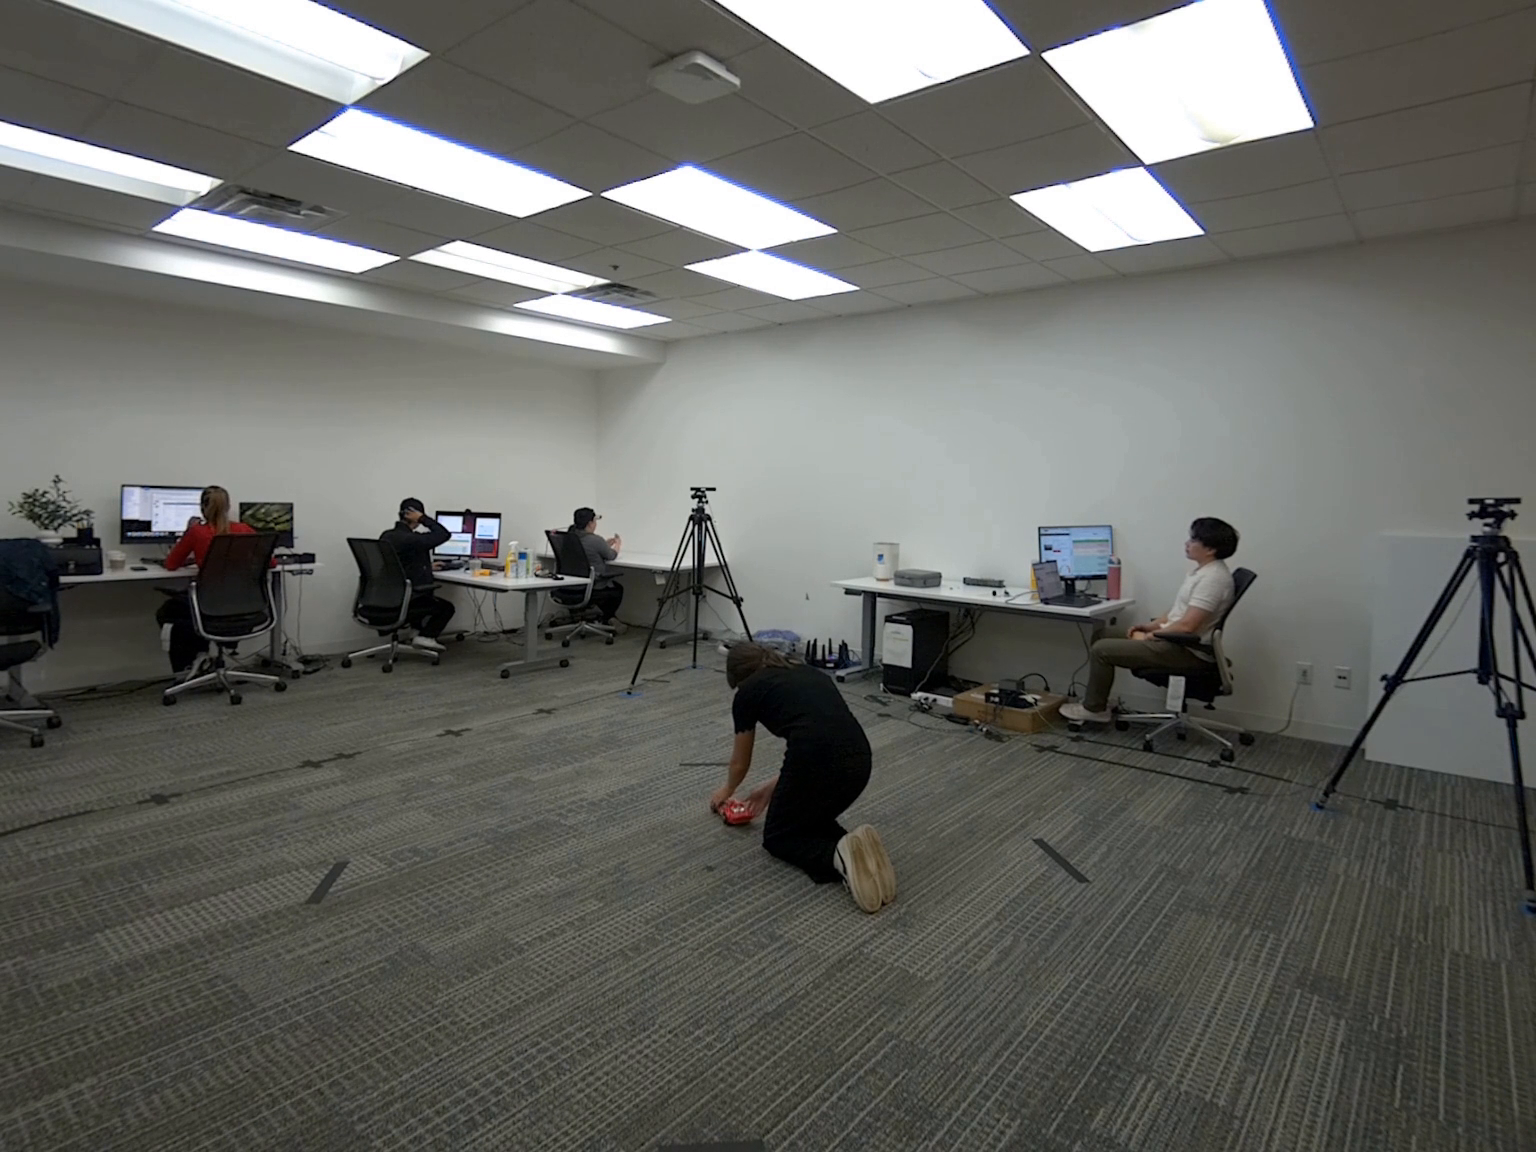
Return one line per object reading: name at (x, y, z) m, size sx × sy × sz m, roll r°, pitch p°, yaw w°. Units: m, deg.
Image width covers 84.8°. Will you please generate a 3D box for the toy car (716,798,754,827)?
toy car at (-0.156, 0.991, 3.588) m, size 0.127 × 0.084 × 0.258 m, roll 0°, pitch -6°, yaw -22°
